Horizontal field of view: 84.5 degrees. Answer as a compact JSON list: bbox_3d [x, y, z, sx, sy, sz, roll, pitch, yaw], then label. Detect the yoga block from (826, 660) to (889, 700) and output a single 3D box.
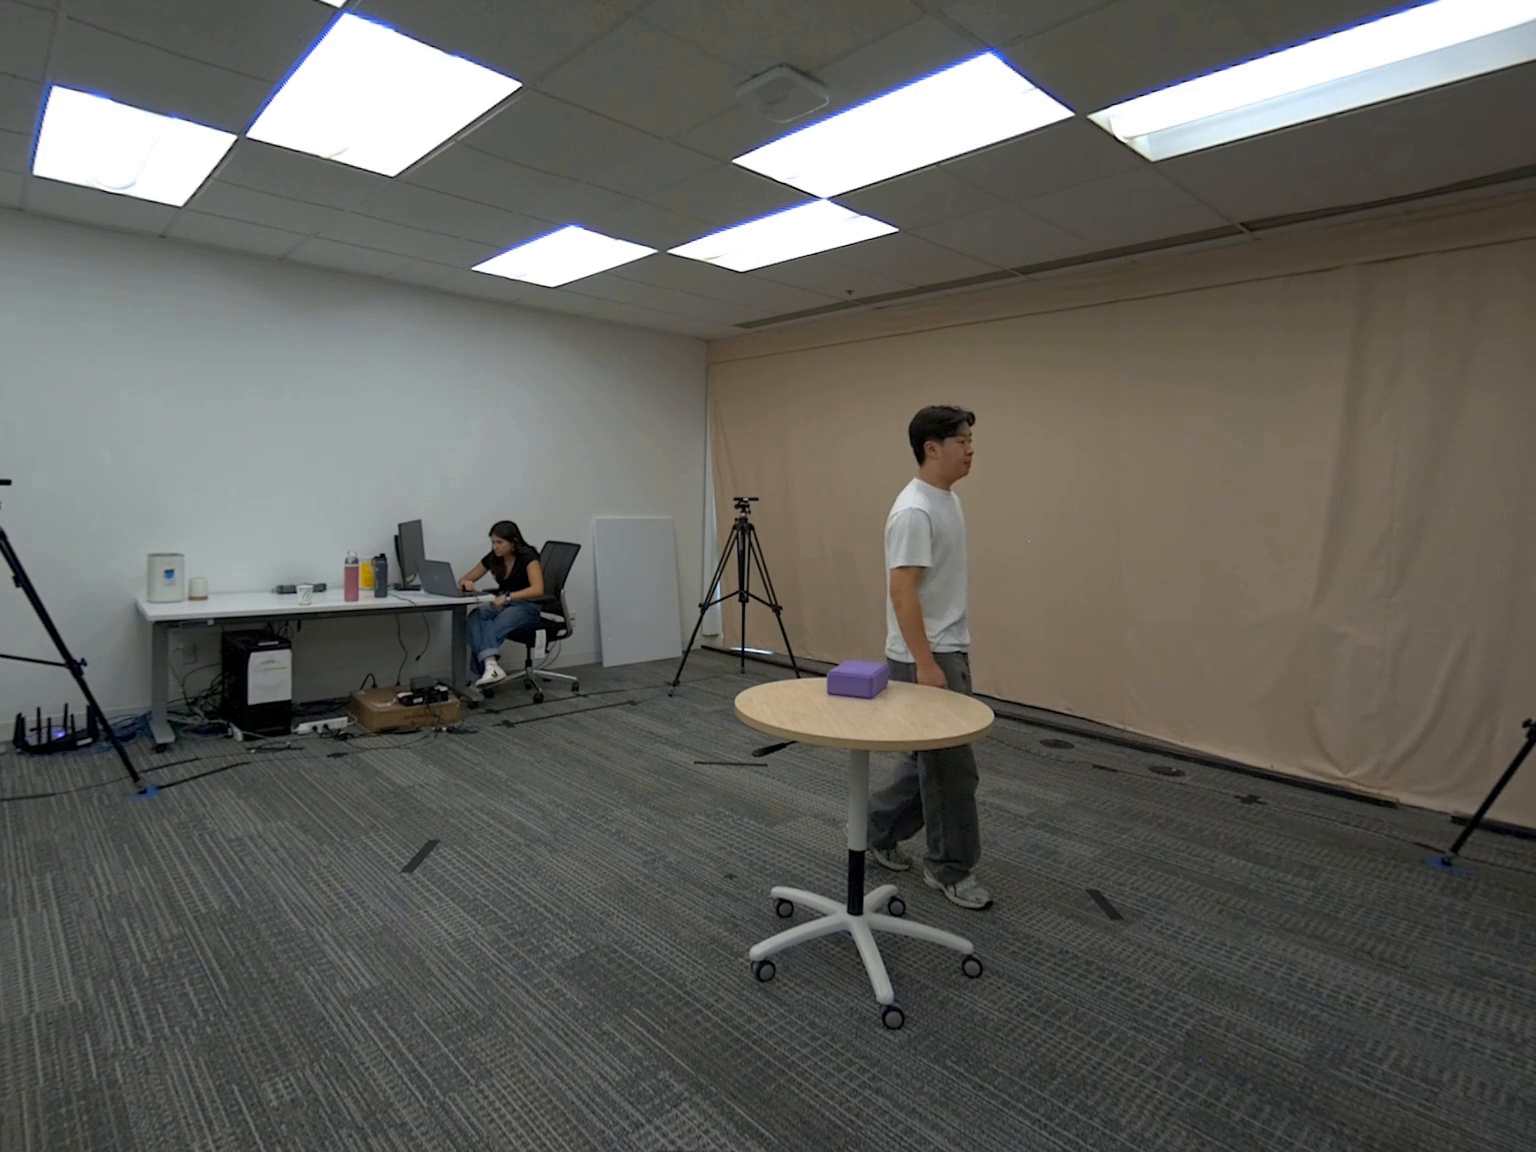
[{"bbox_3d":[0.289,0.336,2.713,0.151,0.076,0.226,3,6,21],"label":"yoga block"}]
